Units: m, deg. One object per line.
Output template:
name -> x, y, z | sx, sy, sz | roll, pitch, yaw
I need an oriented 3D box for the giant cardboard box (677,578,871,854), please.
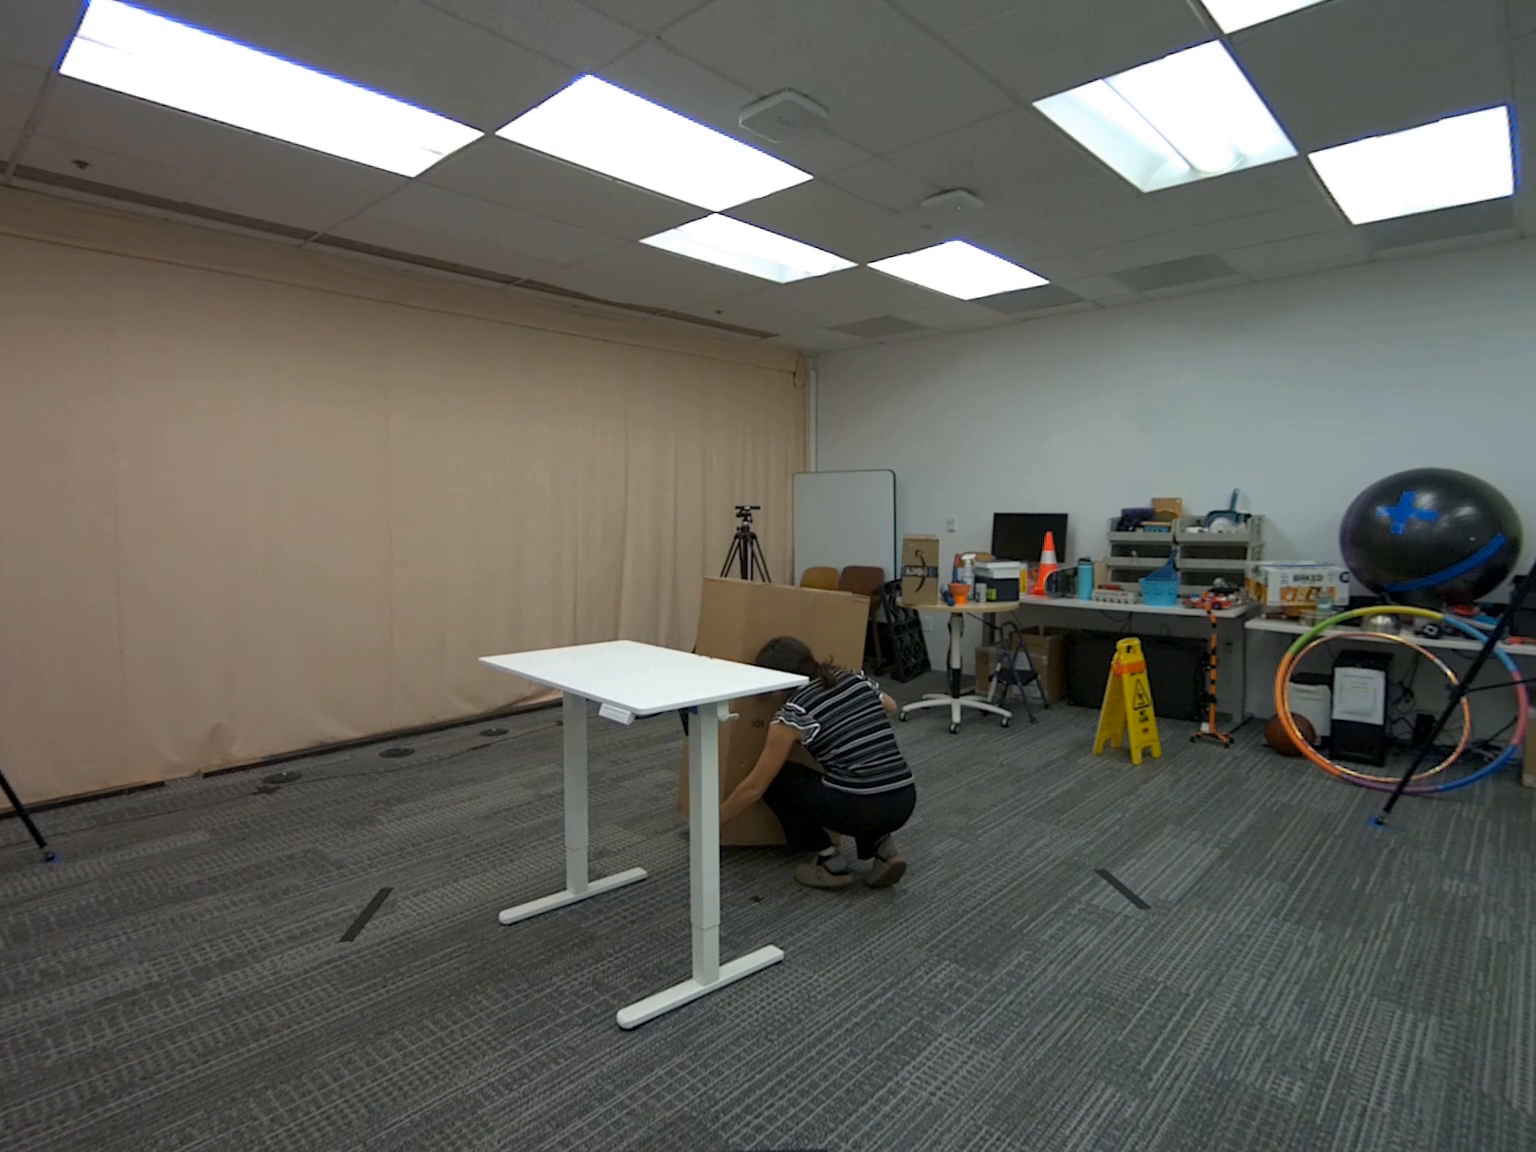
giant cardboard box -> 0.012, 0.547, 3.546 | 0.562, 1.026, 0.437 | 7, -1, -26
